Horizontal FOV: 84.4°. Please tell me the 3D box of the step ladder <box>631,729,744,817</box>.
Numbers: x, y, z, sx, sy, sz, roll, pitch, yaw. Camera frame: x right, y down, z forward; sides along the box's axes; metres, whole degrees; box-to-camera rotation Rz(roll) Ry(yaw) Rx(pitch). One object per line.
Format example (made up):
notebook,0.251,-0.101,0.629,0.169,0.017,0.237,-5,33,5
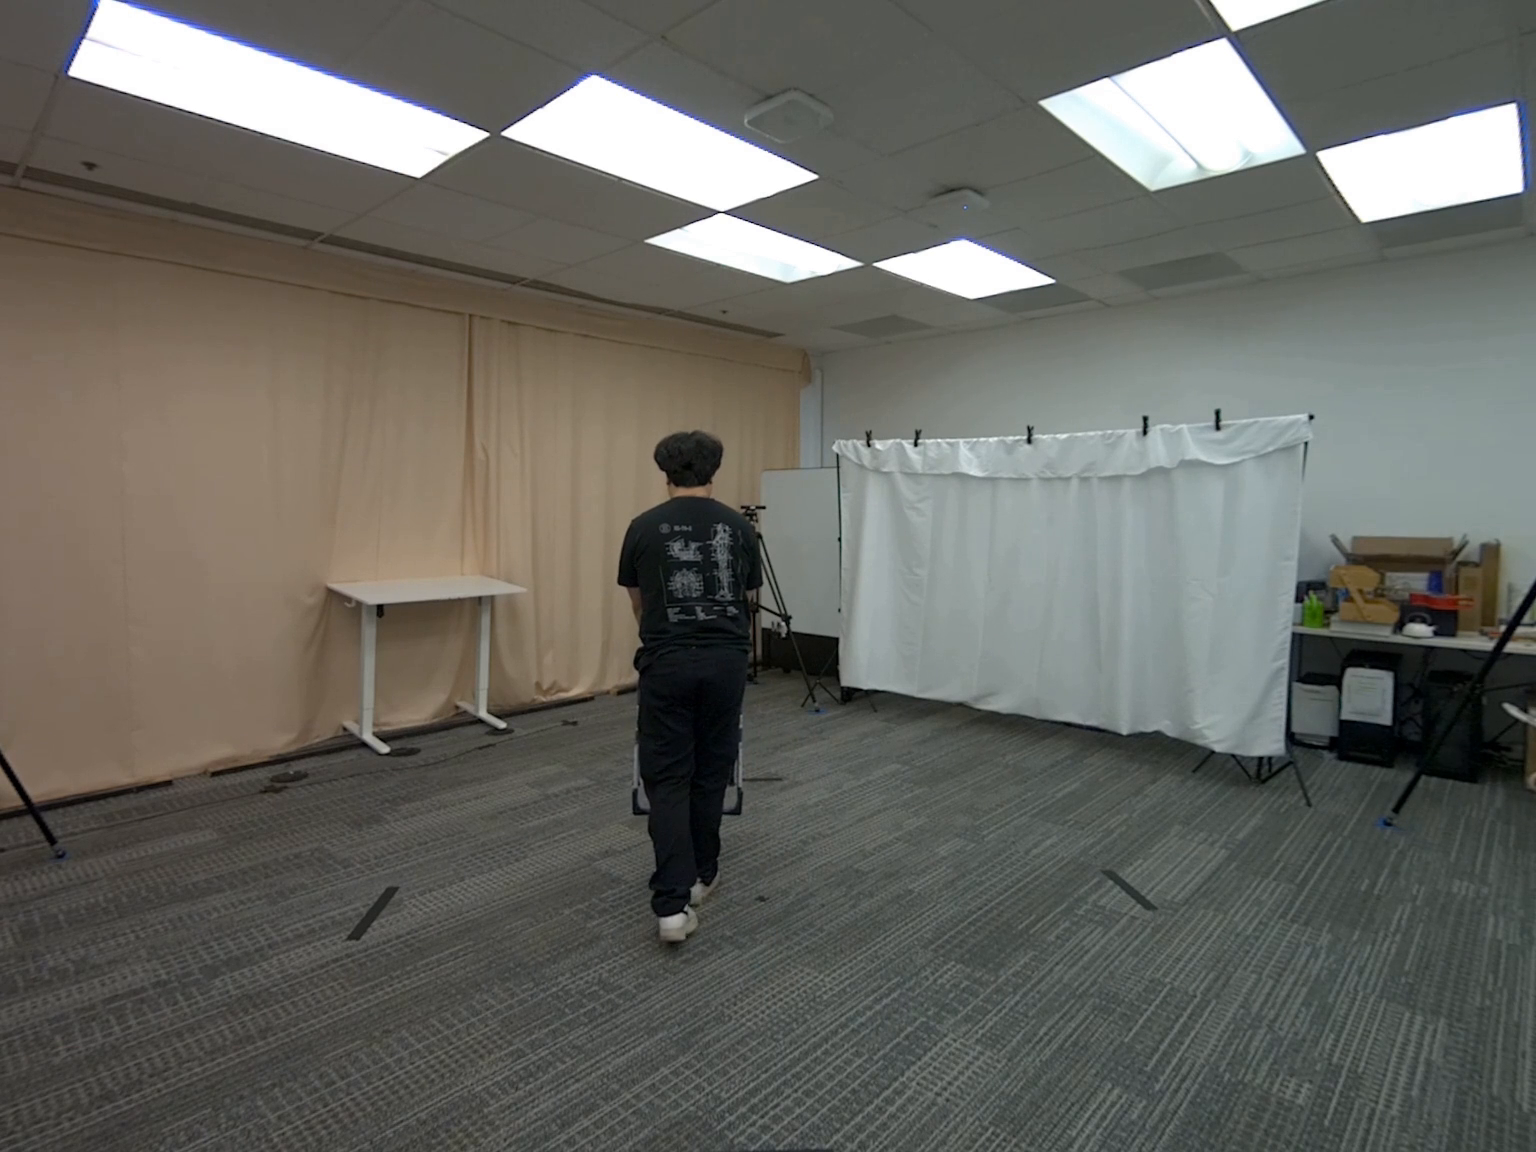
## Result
step ladder,-0.324,0.590,3.305,0.428,0.604,0.353,2,7,-6
